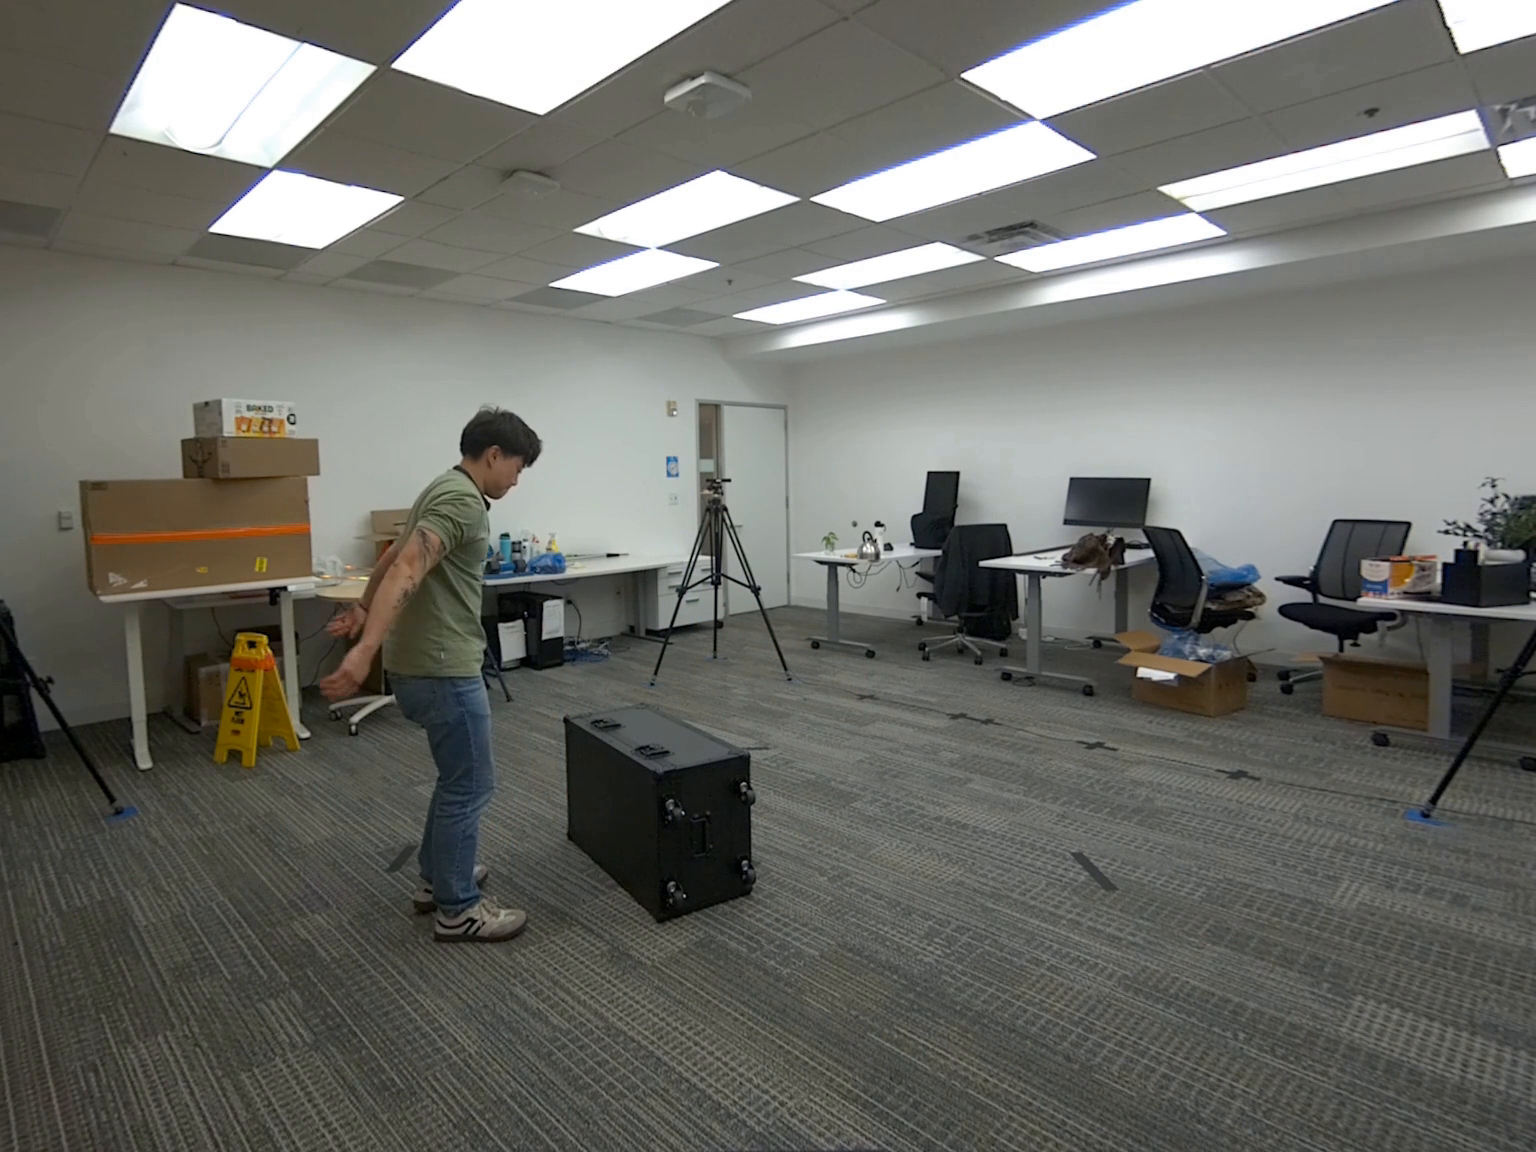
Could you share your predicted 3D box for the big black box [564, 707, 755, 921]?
[{"bbox_3d":[-0.393,0.811,3.079,0.387,0.519,0.887,-4,7,-33],"label":"big black box"}]
